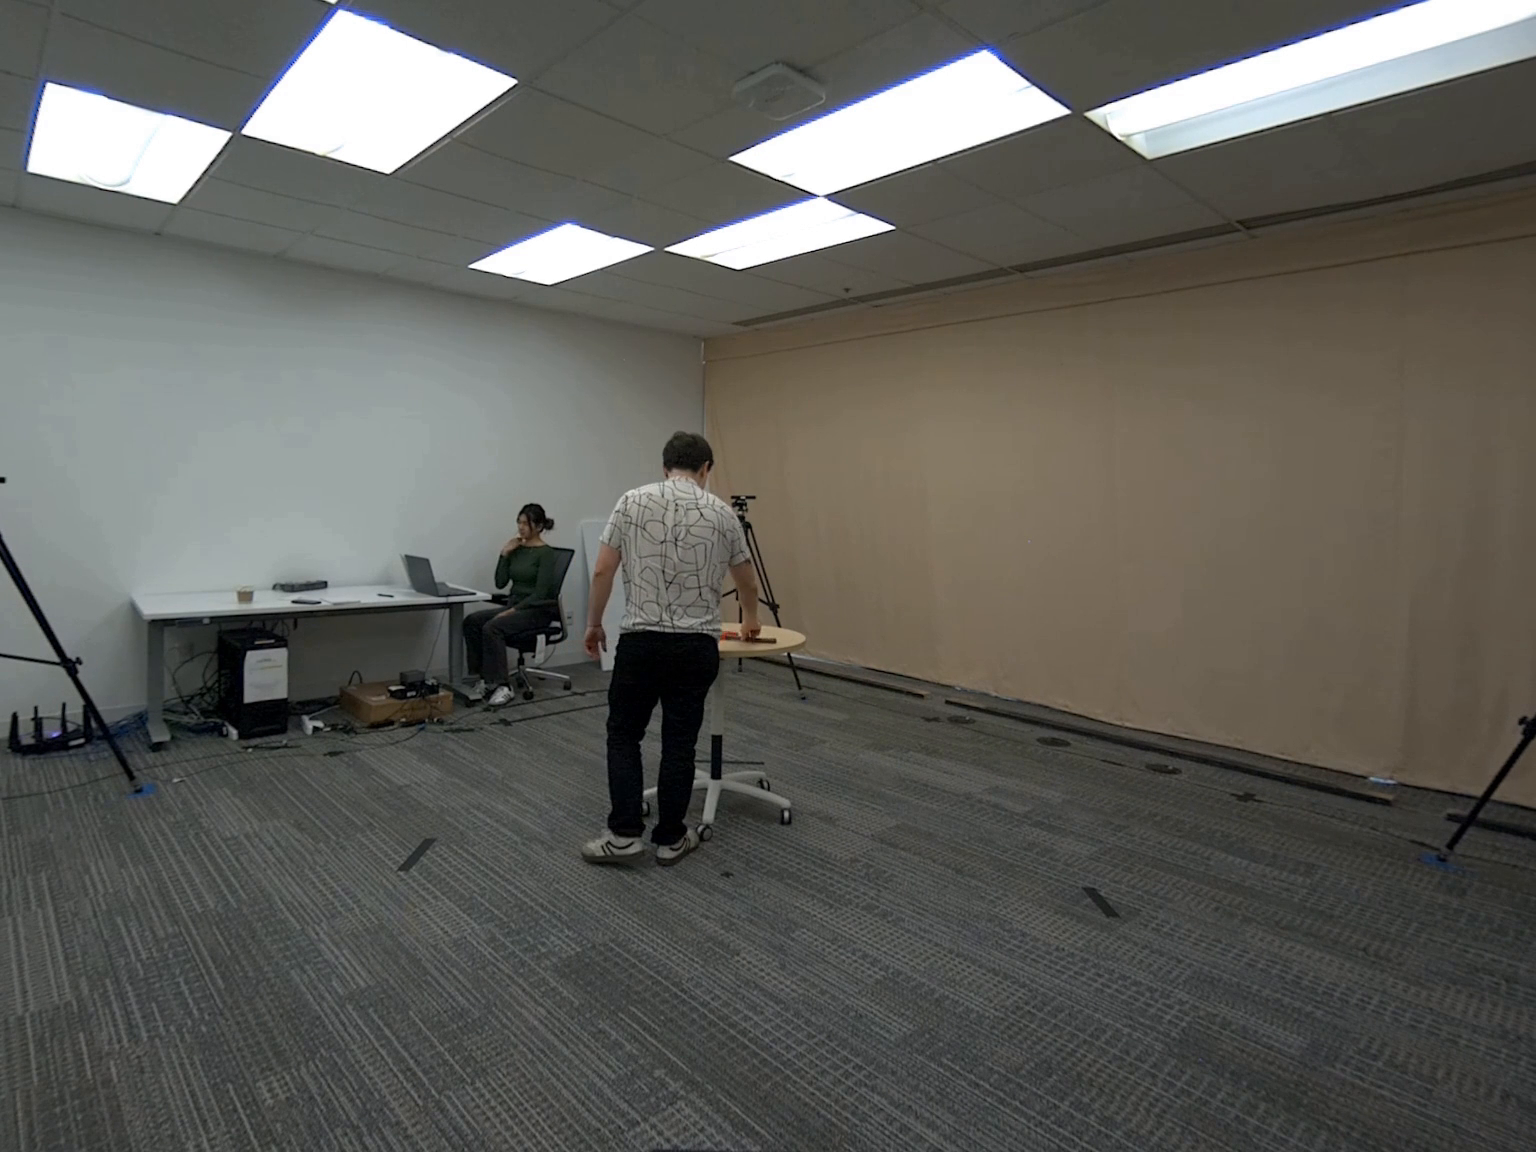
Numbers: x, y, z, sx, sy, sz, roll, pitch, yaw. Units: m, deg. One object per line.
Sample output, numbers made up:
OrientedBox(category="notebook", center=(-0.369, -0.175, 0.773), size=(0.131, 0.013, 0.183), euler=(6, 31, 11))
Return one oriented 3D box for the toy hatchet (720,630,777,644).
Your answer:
OrientedBox(category="toy hatchet", center=(-0.107, 0.262, 3.614), size=(0.271, 0.029, 0.131), euler=(3, 11, 5))
